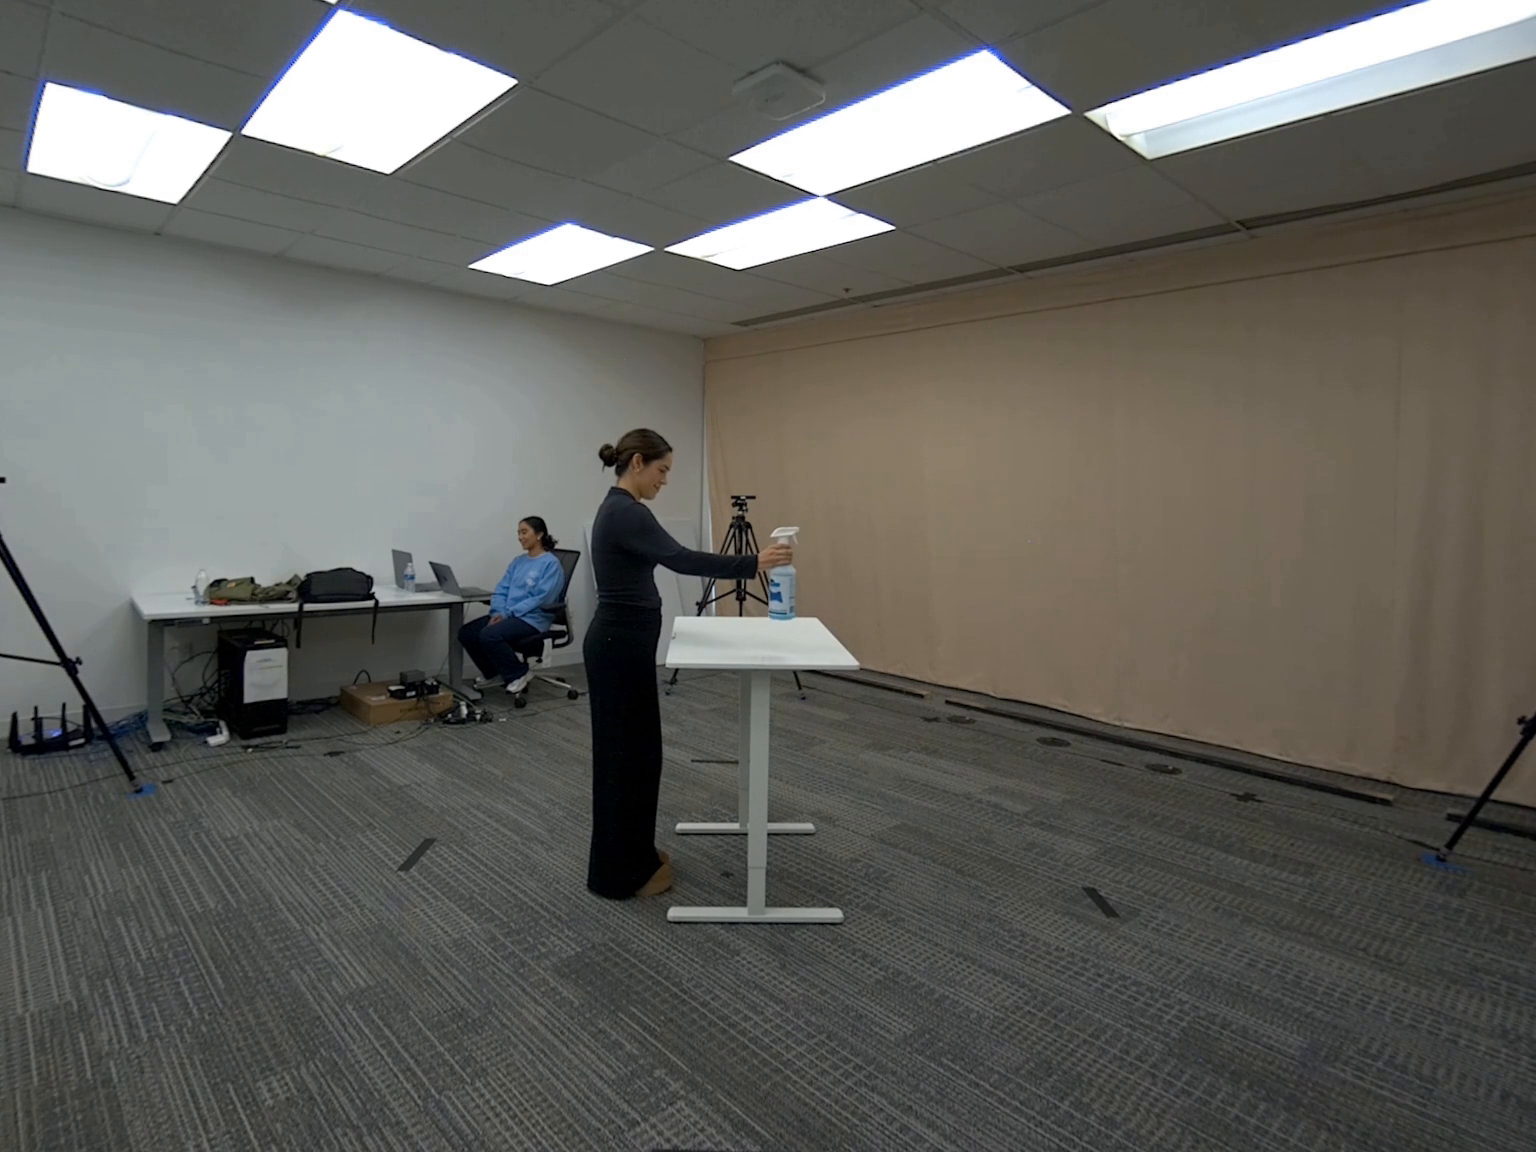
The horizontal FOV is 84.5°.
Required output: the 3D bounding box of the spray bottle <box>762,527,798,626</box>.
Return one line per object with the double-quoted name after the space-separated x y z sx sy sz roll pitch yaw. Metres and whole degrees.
0.038 -0.002 2.687 0.091 0.296 0.086 3 6 12 "spray bottle"
